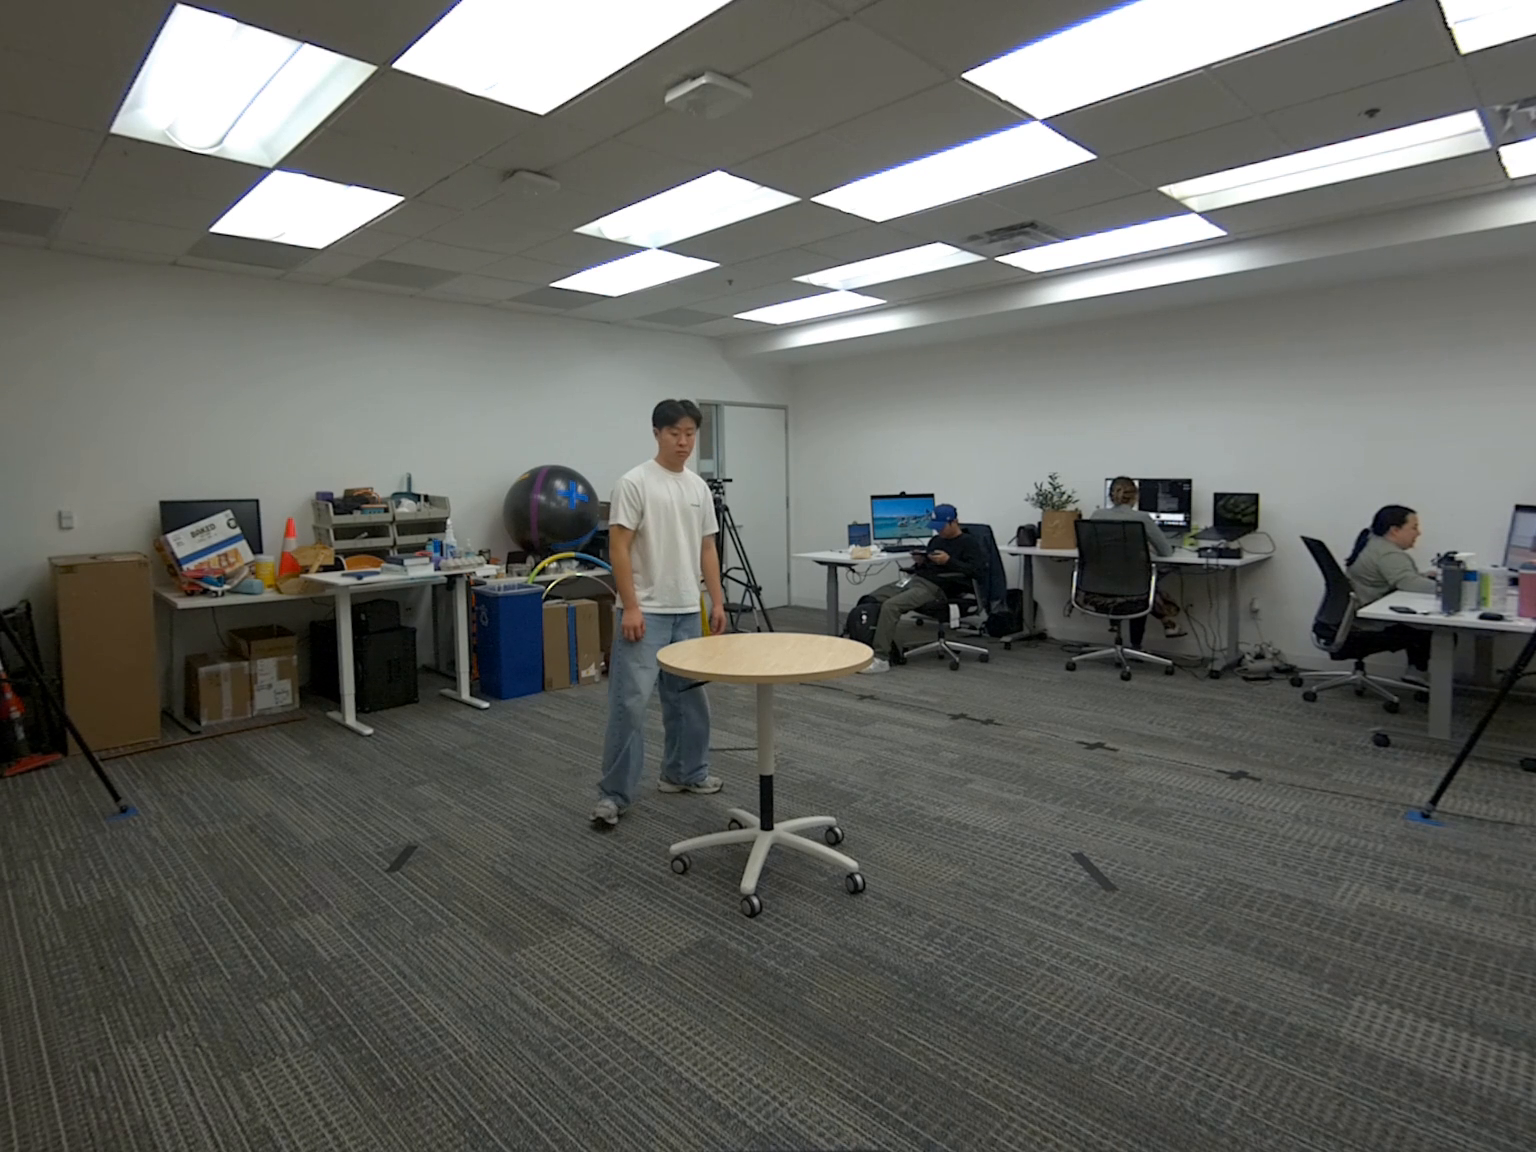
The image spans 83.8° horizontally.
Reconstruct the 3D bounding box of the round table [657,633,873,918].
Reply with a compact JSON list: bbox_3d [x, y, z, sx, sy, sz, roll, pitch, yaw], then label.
[{"bbox_3d":[-0.005,0.661,3.056,0.763,0.791,0.768,-1,4,-2],"label":"round table"}]
